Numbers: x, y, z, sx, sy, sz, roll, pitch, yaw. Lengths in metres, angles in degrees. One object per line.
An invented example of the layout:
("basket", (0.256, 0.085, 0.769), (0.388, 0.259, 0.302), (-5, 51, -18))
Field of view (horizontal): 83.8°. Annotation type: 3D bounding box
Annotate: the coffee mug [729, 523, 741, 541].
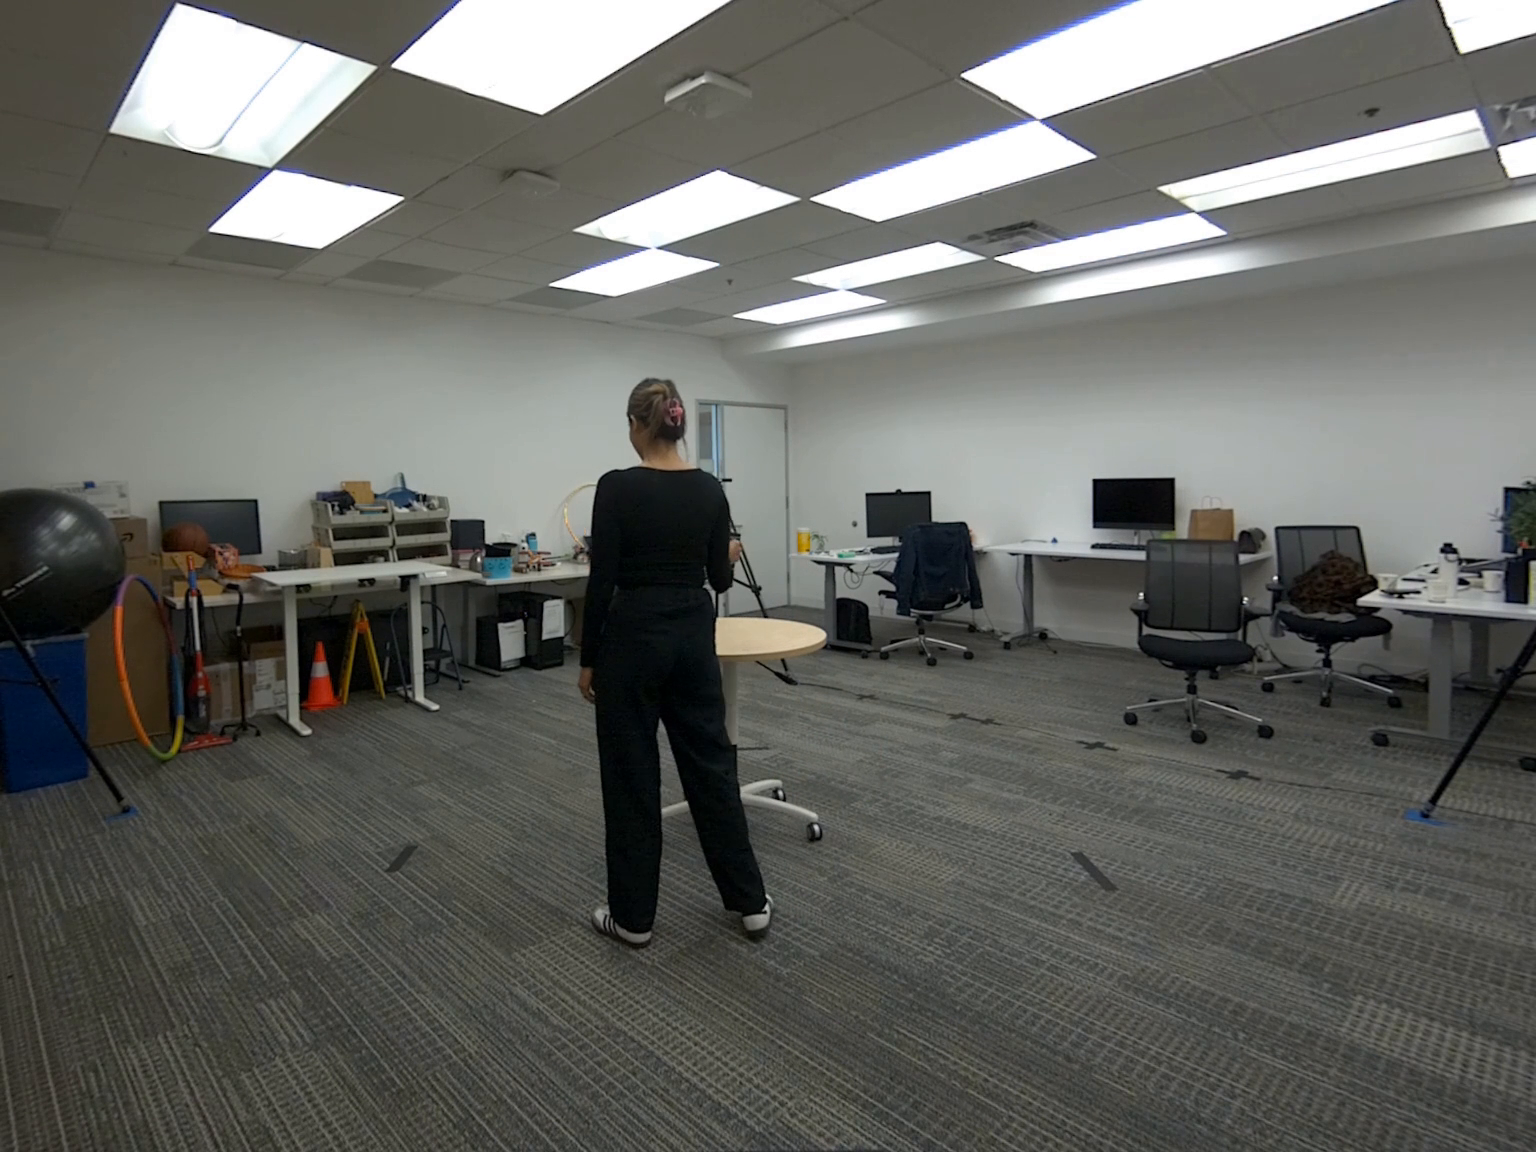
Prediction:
("coffee mug", (-0.147, -0.054, 3.052), (0.091, 0.202, 0.119), (14, 8, 32))
